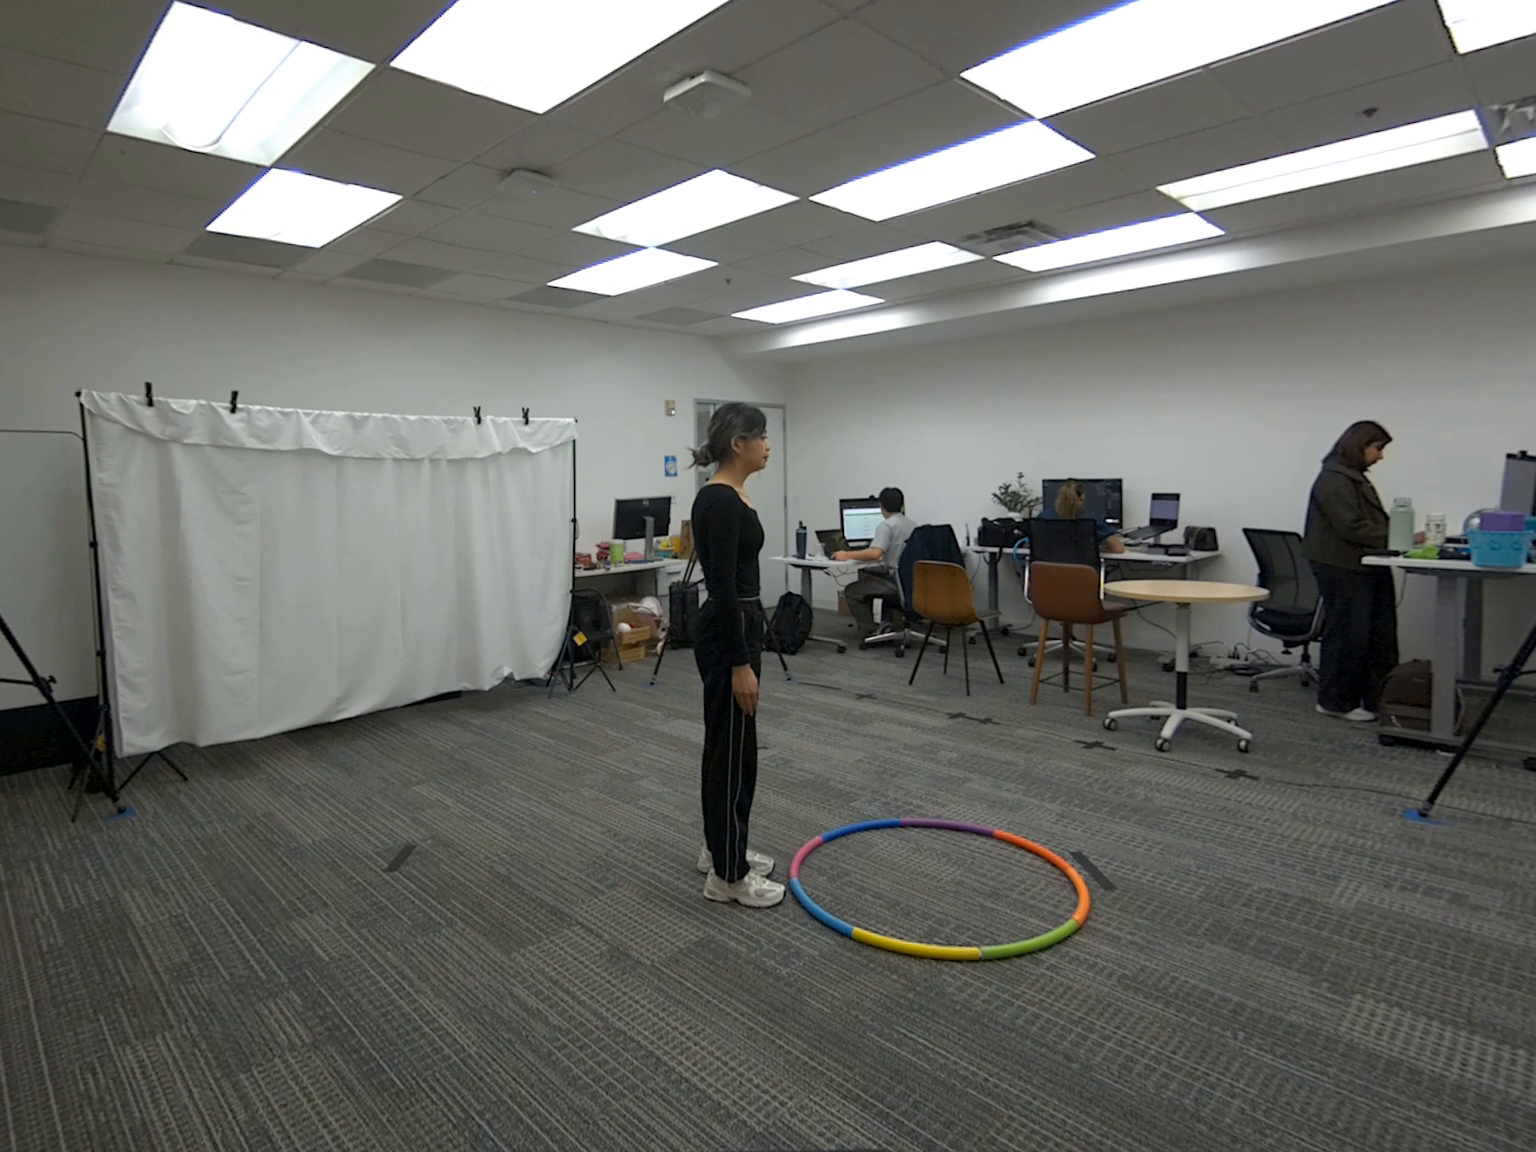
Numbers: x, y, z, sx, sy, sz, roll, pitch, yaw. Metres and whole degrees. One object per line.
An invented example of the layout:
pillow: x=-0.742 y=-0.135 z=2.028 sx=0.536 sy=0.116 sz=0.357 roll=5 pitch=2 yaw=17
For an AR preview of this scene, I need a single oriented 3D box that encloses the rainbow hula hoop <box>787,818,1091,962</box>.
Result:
rainbow hula hoop: x=0.568 y=1.026 z=2.935 sx=0.978 sy=0.035 sz=0.984 roll=-2 pitch=6 yaw=-2
